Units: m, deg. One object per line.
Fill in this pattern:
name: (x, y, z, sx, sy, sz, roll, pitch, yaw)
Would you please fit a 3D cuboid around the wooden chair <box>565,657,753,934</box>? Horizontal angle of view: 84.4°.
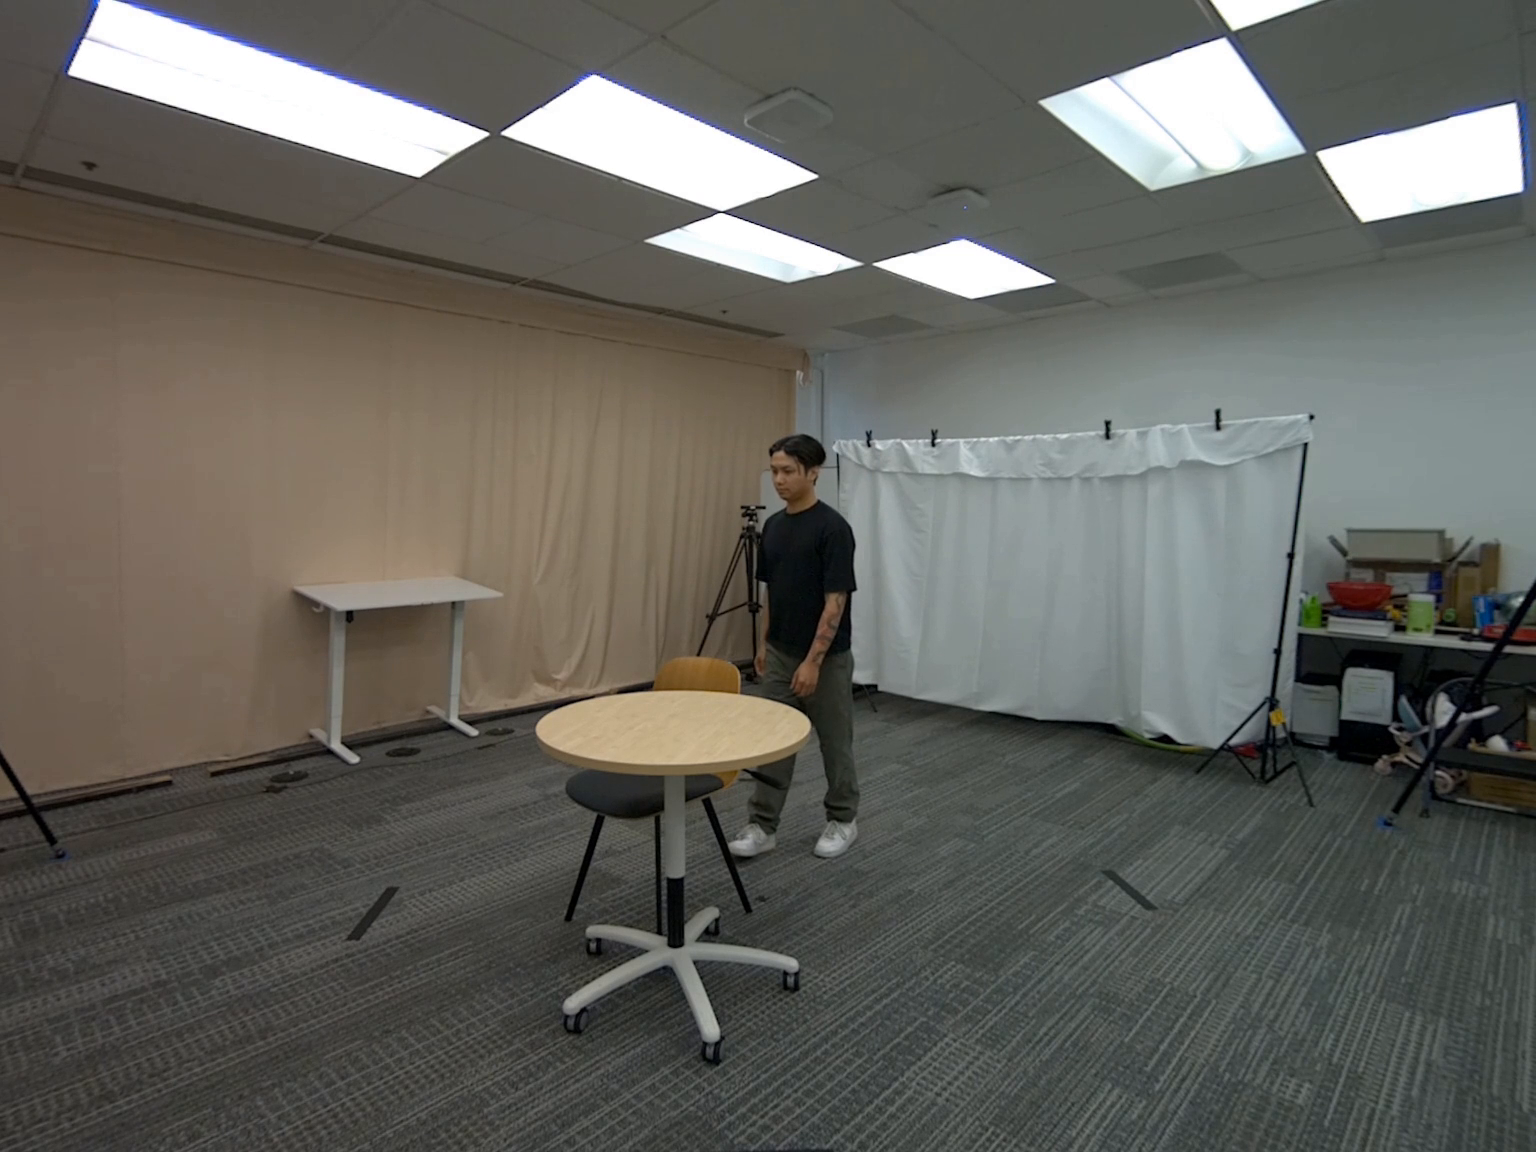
wooden chair: (-0.371, 0.731, 2.820, 0.493, 0.878, 0.506, 2, -1, 39)
